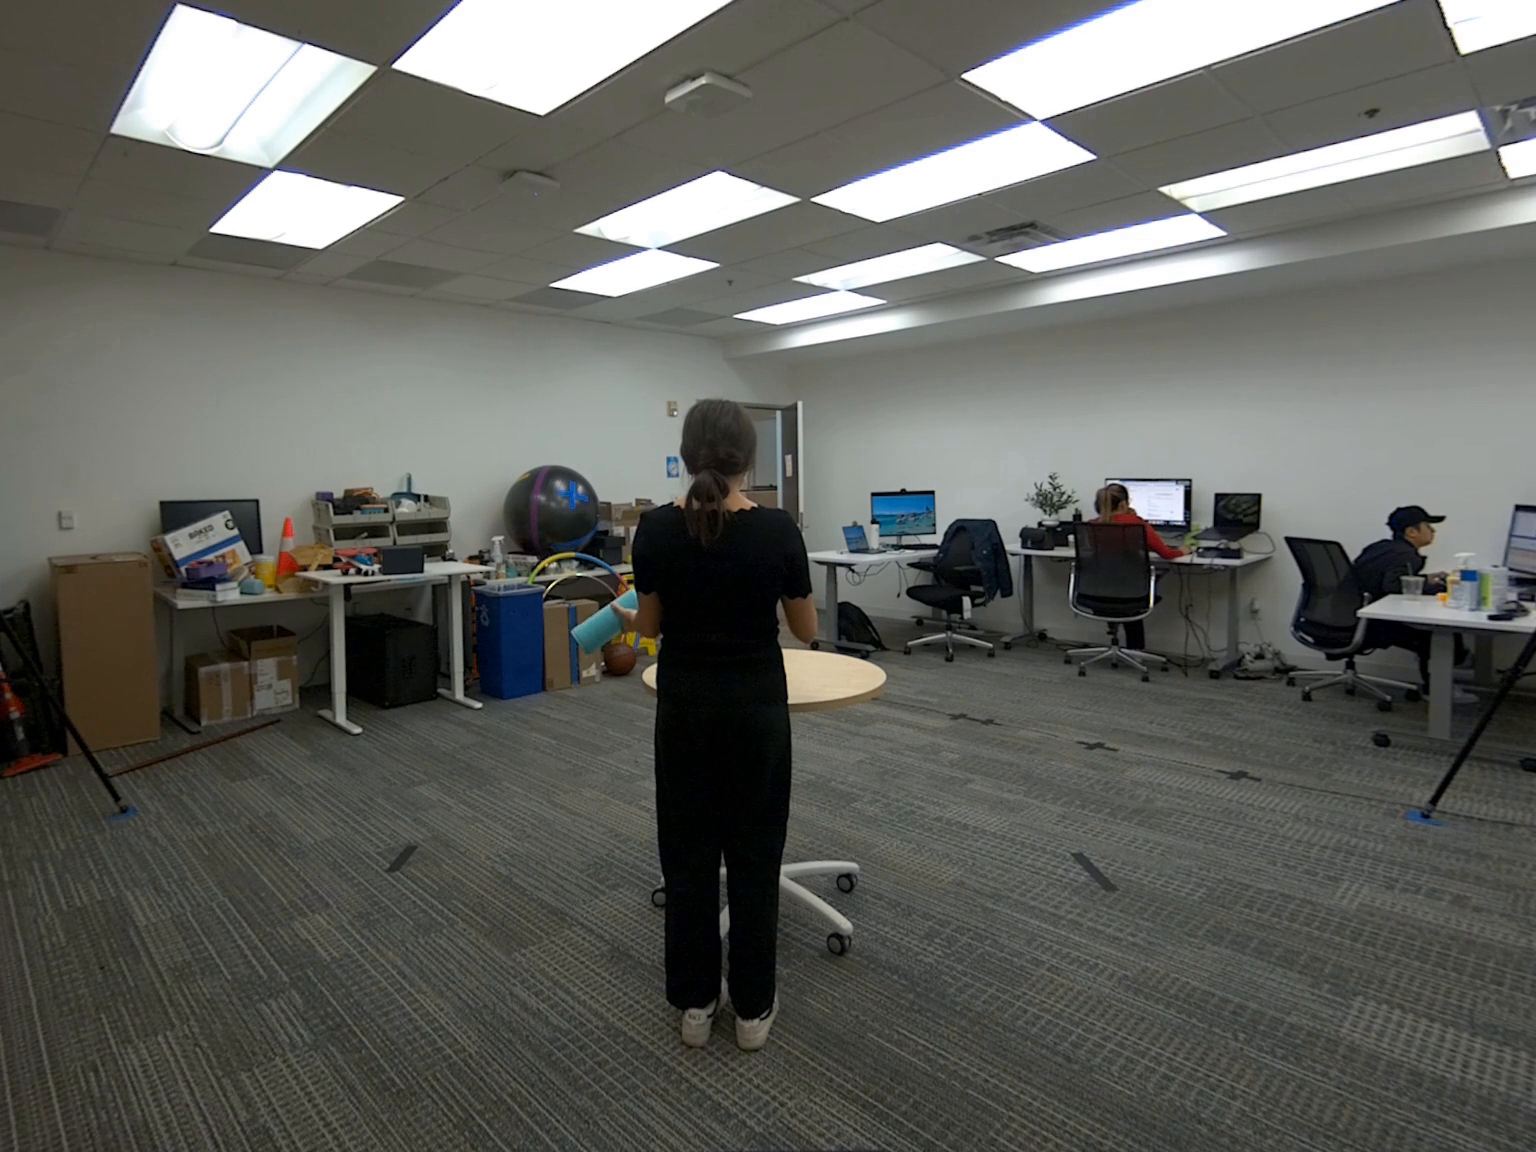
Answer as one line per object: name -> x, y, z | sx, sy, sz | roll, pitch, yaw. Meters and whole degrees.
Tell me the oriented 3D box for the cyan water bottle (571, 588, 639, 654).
cyan water bottle -> -0.446, 0.110, 2.536 | 0.283, 0.091, 0.094 | -35, 11, -8
